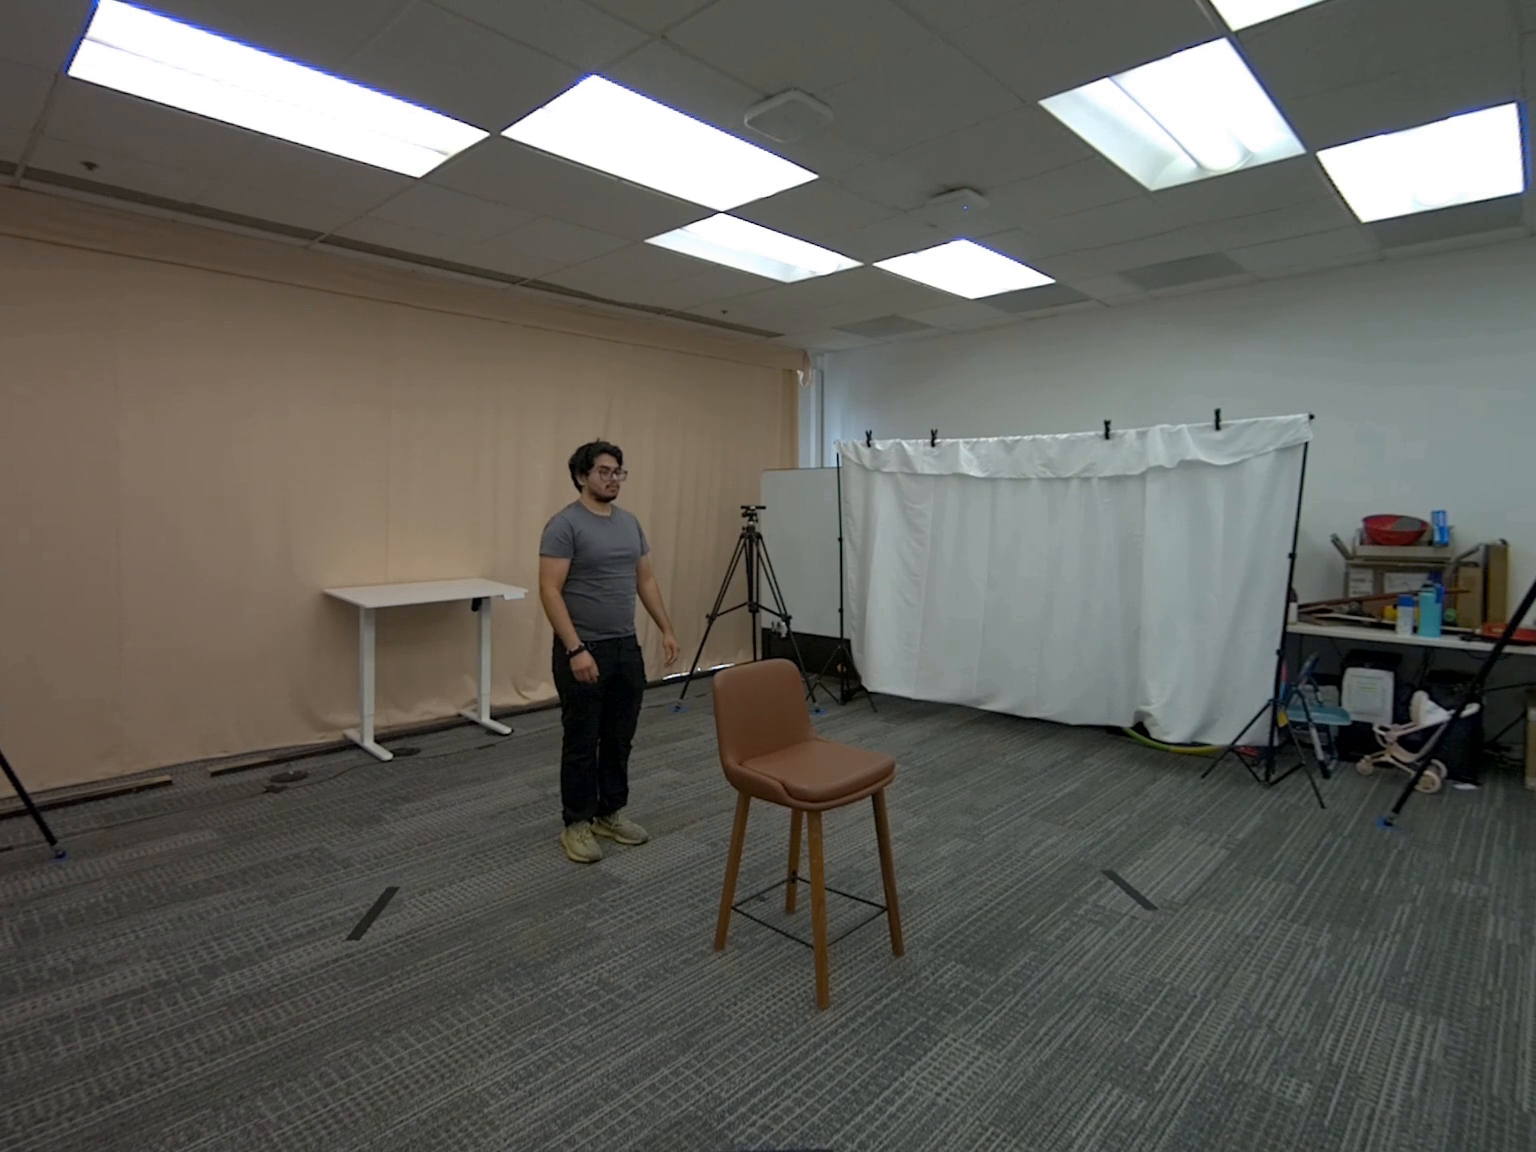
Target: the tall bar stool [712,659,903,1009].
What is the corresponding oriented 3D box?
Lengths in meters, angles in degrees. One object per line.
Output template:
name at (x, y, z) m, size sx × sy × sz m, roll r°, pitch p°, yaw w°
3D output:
tall bar stool at (0.119, 0.740, 2.604) m, size 0.483 × 0.888 × 0.442 m, roll 1°, pitch 3°, yaw 43°
